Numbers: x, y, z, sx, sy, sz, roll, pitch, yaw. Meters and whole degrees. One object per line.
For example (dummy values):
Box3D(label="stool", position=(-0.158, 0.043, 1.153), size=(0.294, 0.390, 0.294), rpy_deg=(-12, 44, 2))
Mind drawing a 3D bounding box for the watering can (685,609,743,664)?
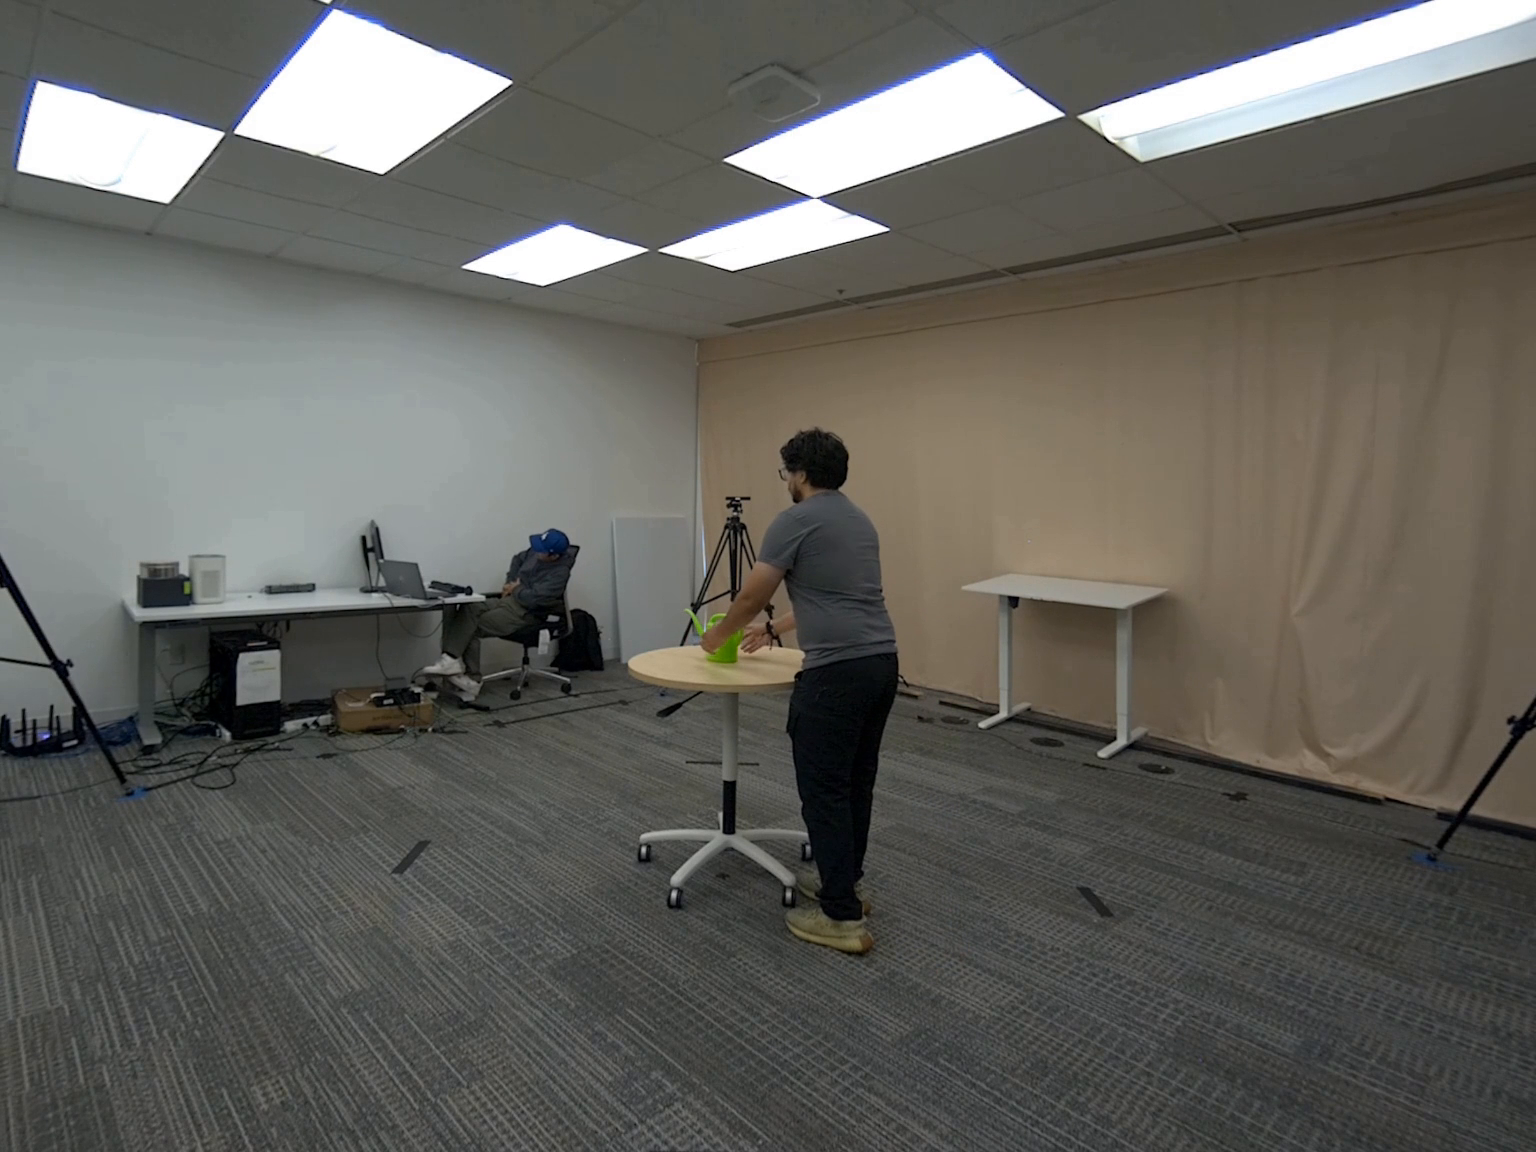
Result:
Box3D(label="watering can", position=(-0.201, 0.226, 3.187), size=(0.096, 0.176, 0.285), rpy_deg=(1, 5, -41))
